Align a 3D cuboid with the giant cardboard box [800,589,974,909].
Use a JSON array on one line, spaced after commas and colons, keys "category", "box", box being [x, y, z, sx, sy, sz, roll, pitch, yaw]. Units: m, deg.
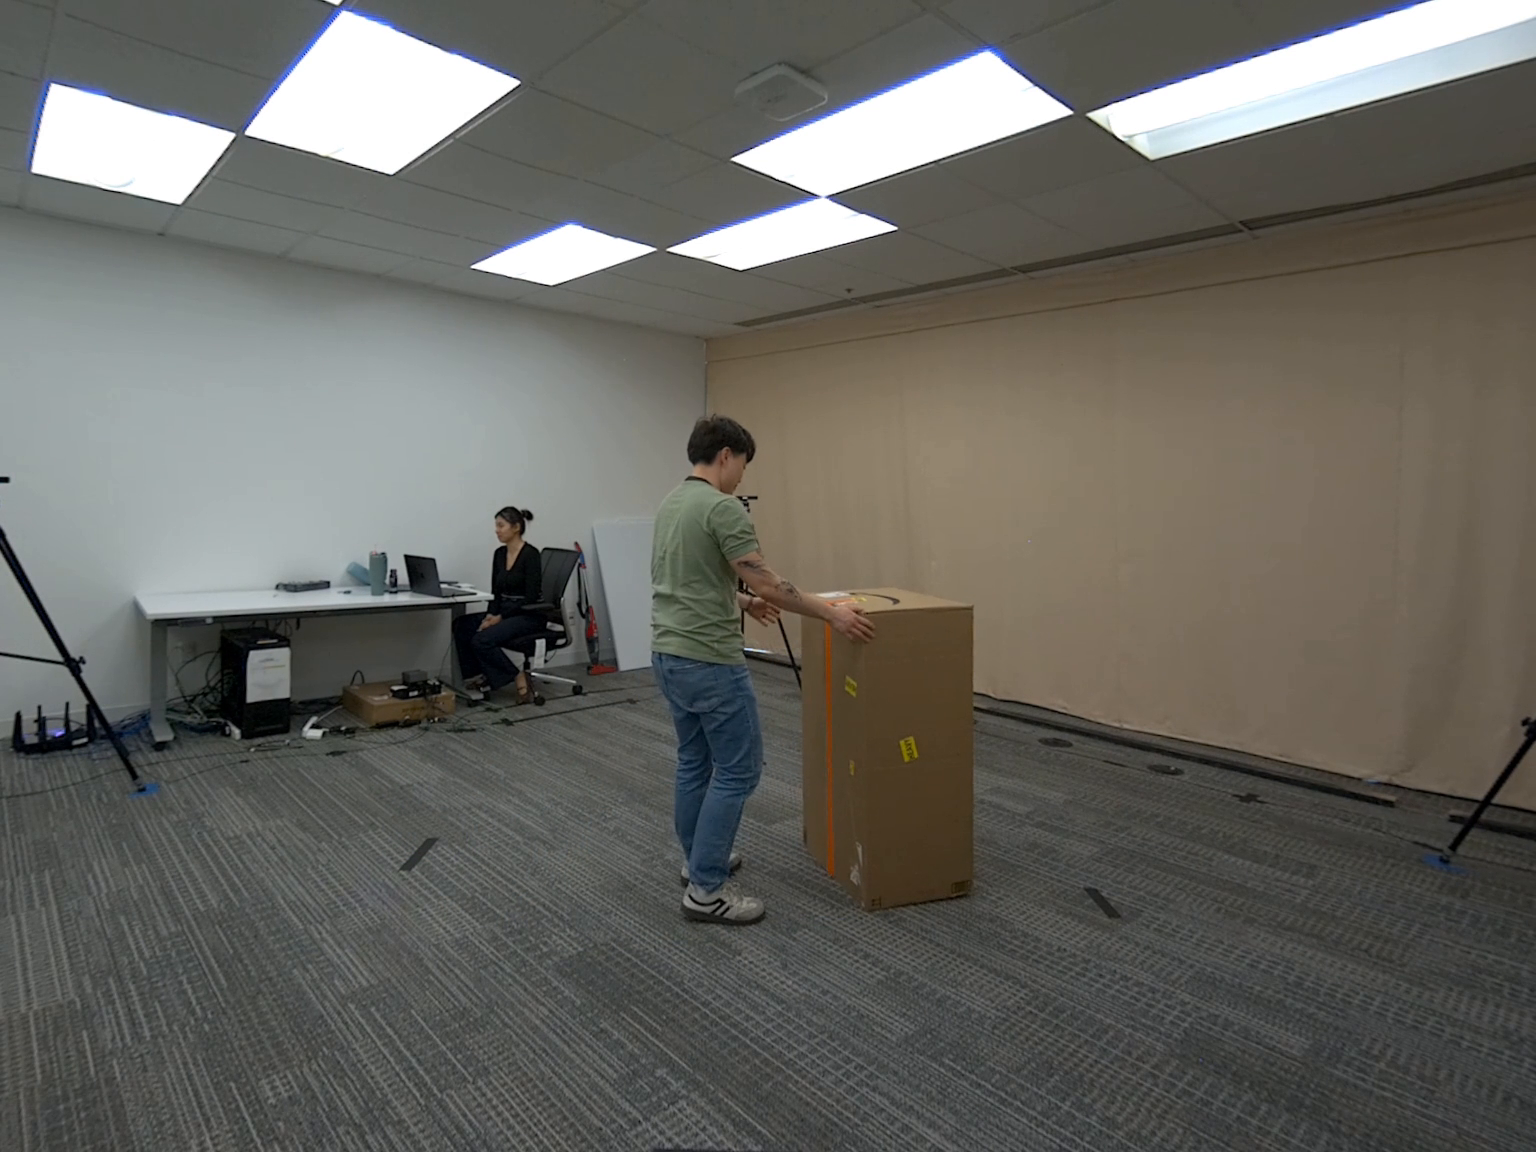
[{"category": "giant cardboard box", "box": [0.418, 0.593, 3.149, 0.420, 1.023, 0.587, -2, 4, -19]}]
